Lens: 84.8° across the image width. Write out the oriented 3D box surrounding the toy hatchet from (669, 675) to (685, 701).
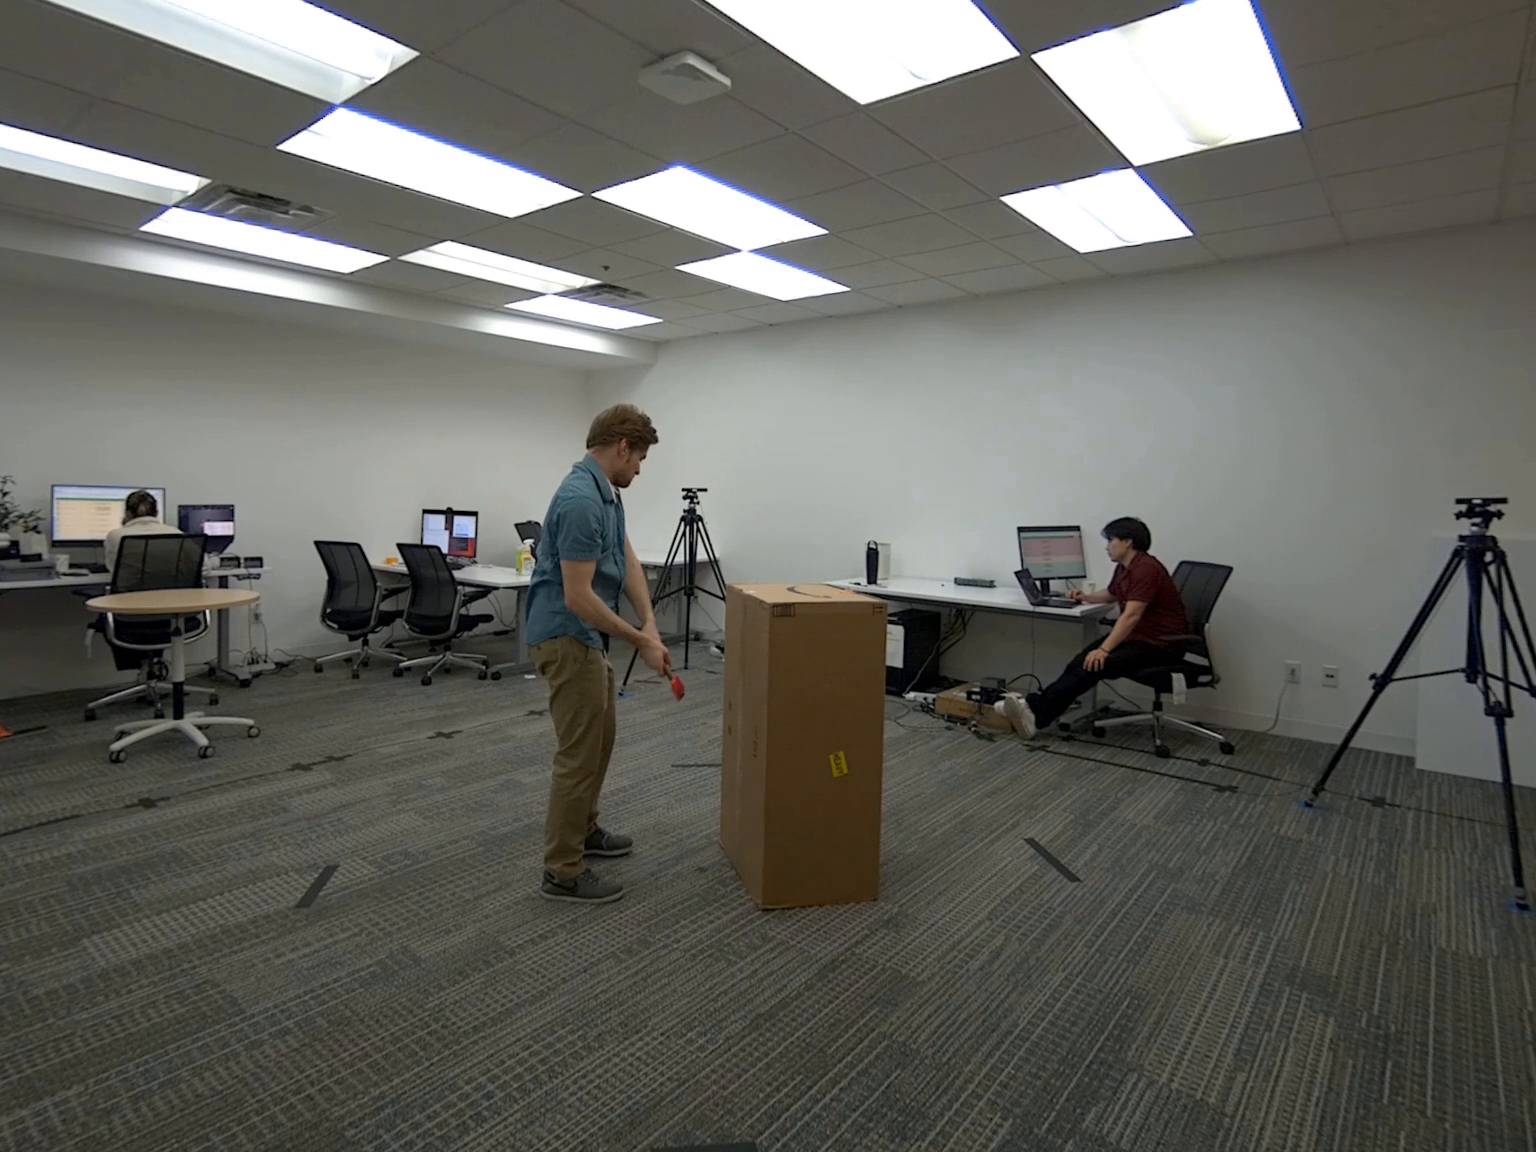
[{"bbox_3d":[-0.338,0.292,2.800,0.029,0.127,0.281,-18,34,-19],"label":"toy hatchet"}]
